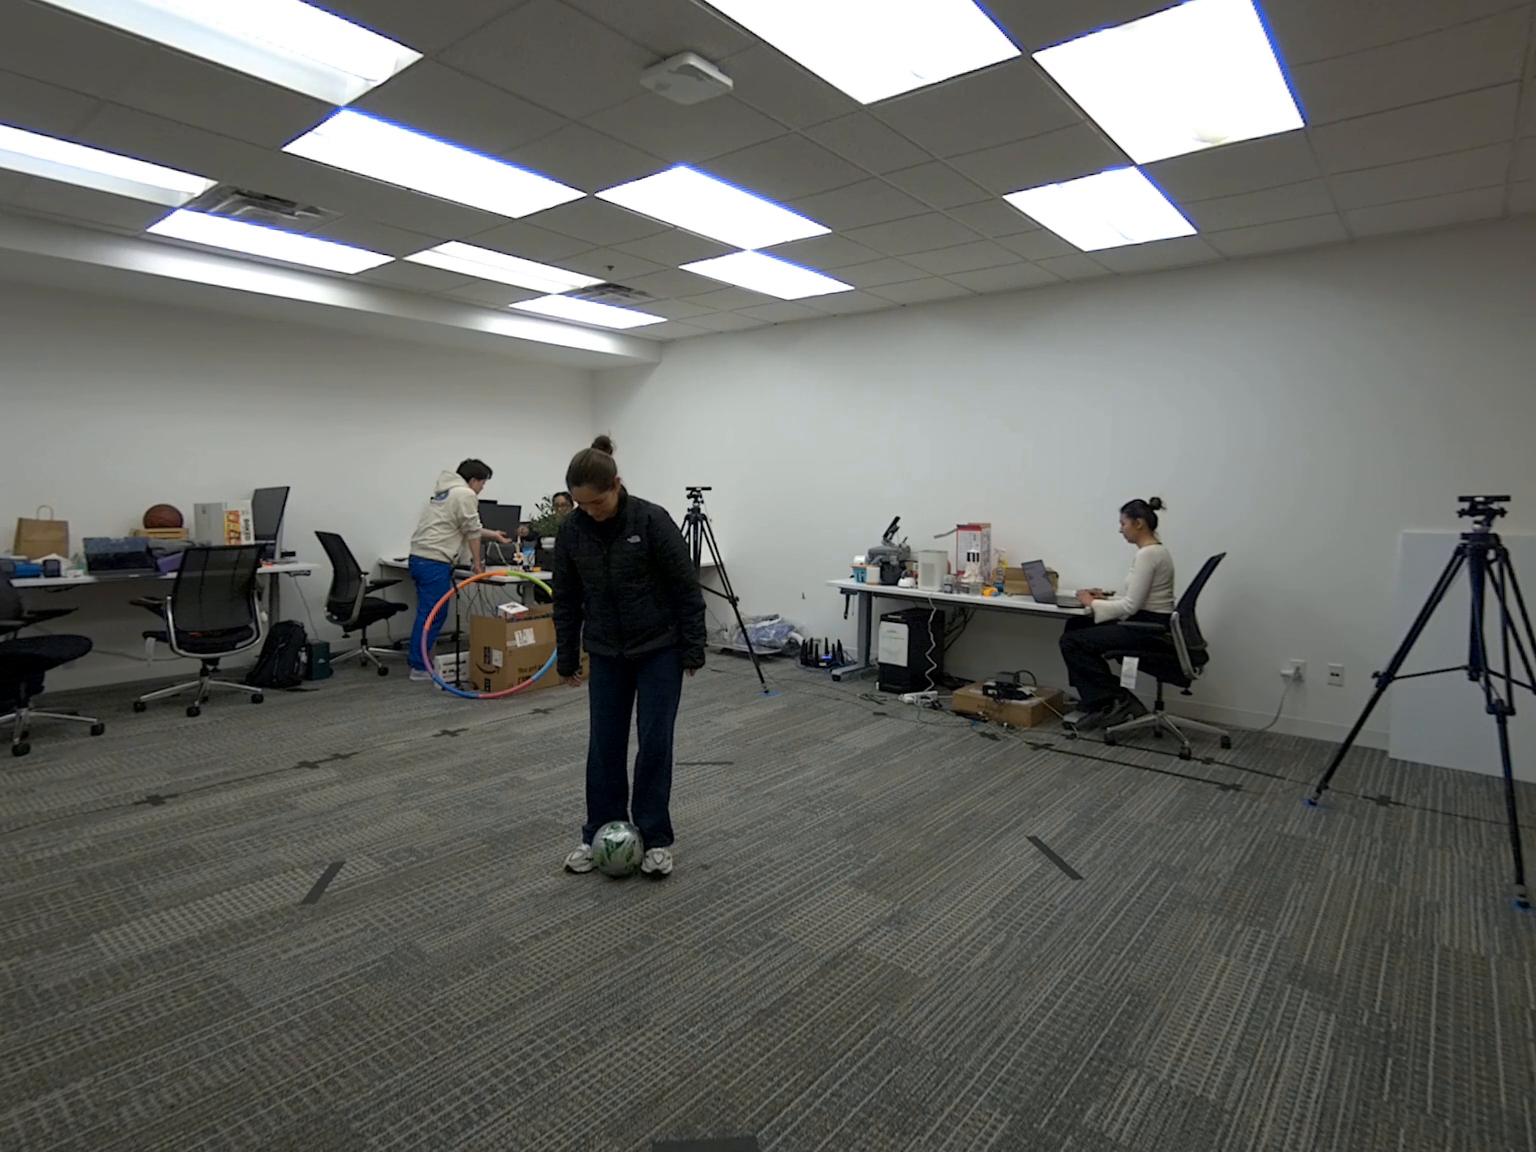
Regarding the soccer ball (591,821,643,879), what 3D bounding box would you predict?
[{"bbox_3d":[-0.554,0.973,3.054,0.187,0.187,0.188,1,4,-2],"label":"soccer ball"}]
